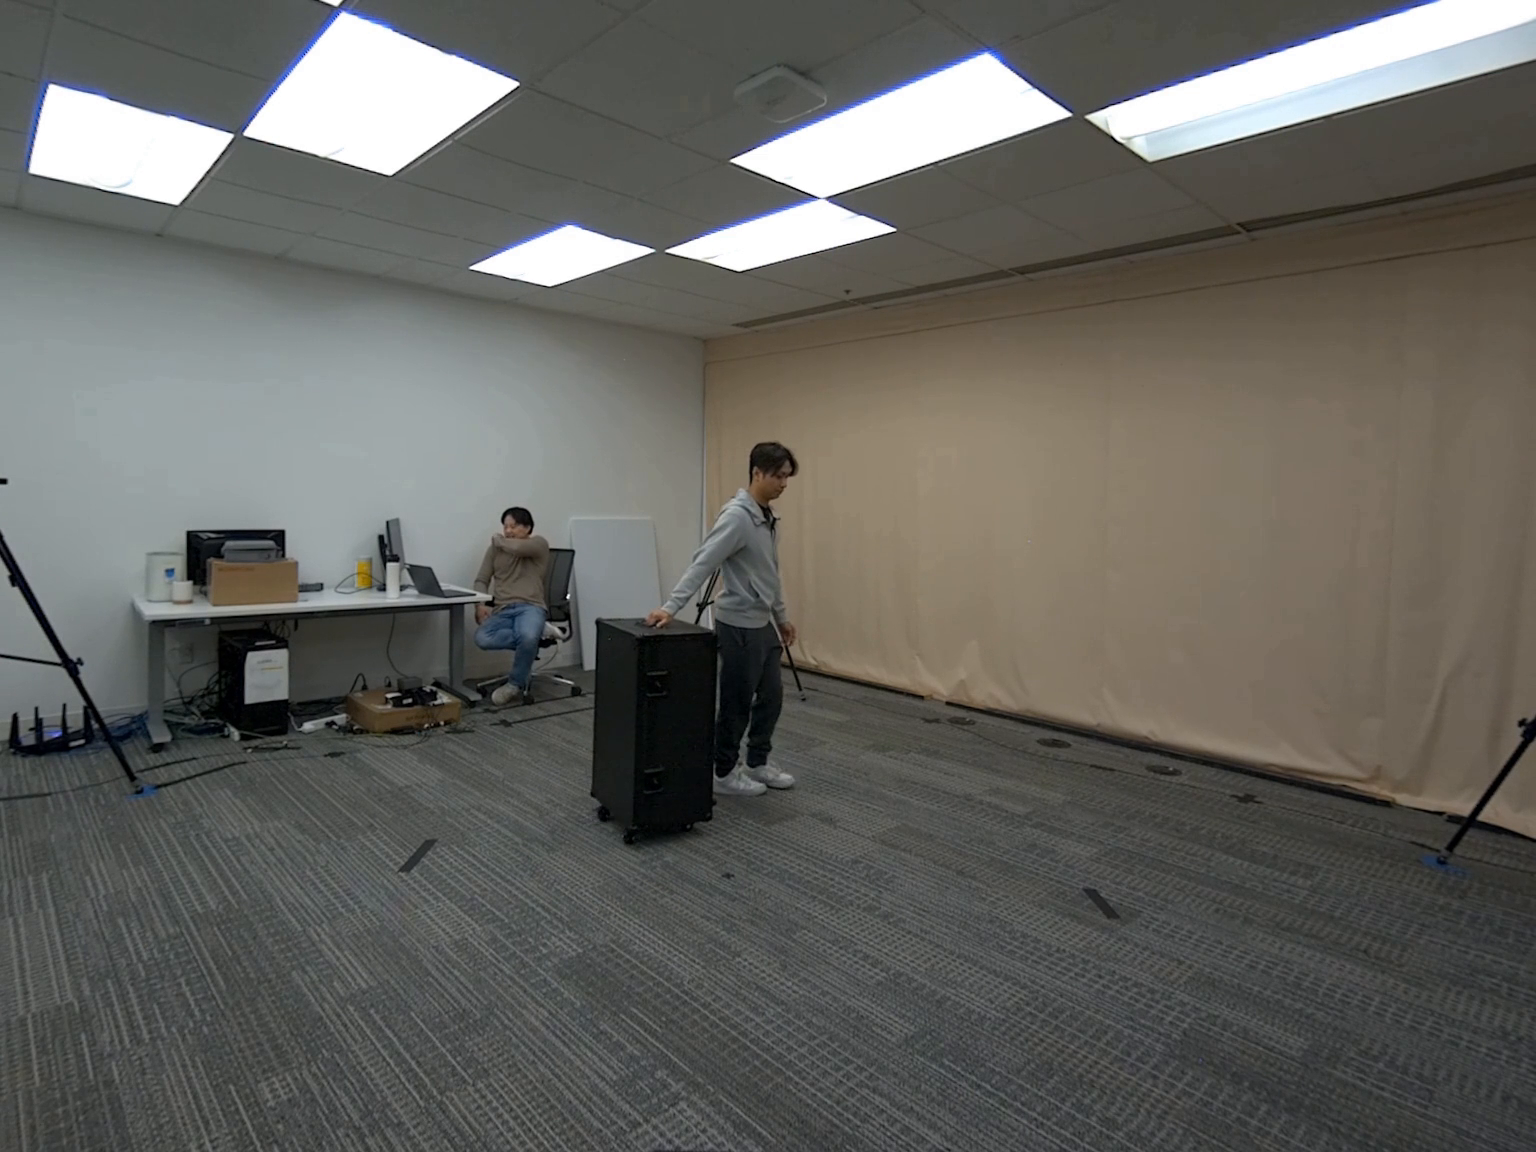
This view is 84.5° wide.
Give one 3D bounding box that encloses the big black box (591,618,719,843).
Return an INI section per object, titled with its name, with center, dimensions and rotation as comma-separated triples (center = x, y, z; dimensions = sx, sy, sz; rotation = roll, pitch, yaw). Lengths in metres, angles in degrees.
[big black box]
center = -0.496, 0.634, 3.577
dimensions = 0.388, 0.860, 0.533
rotation = 1, 2, -30
